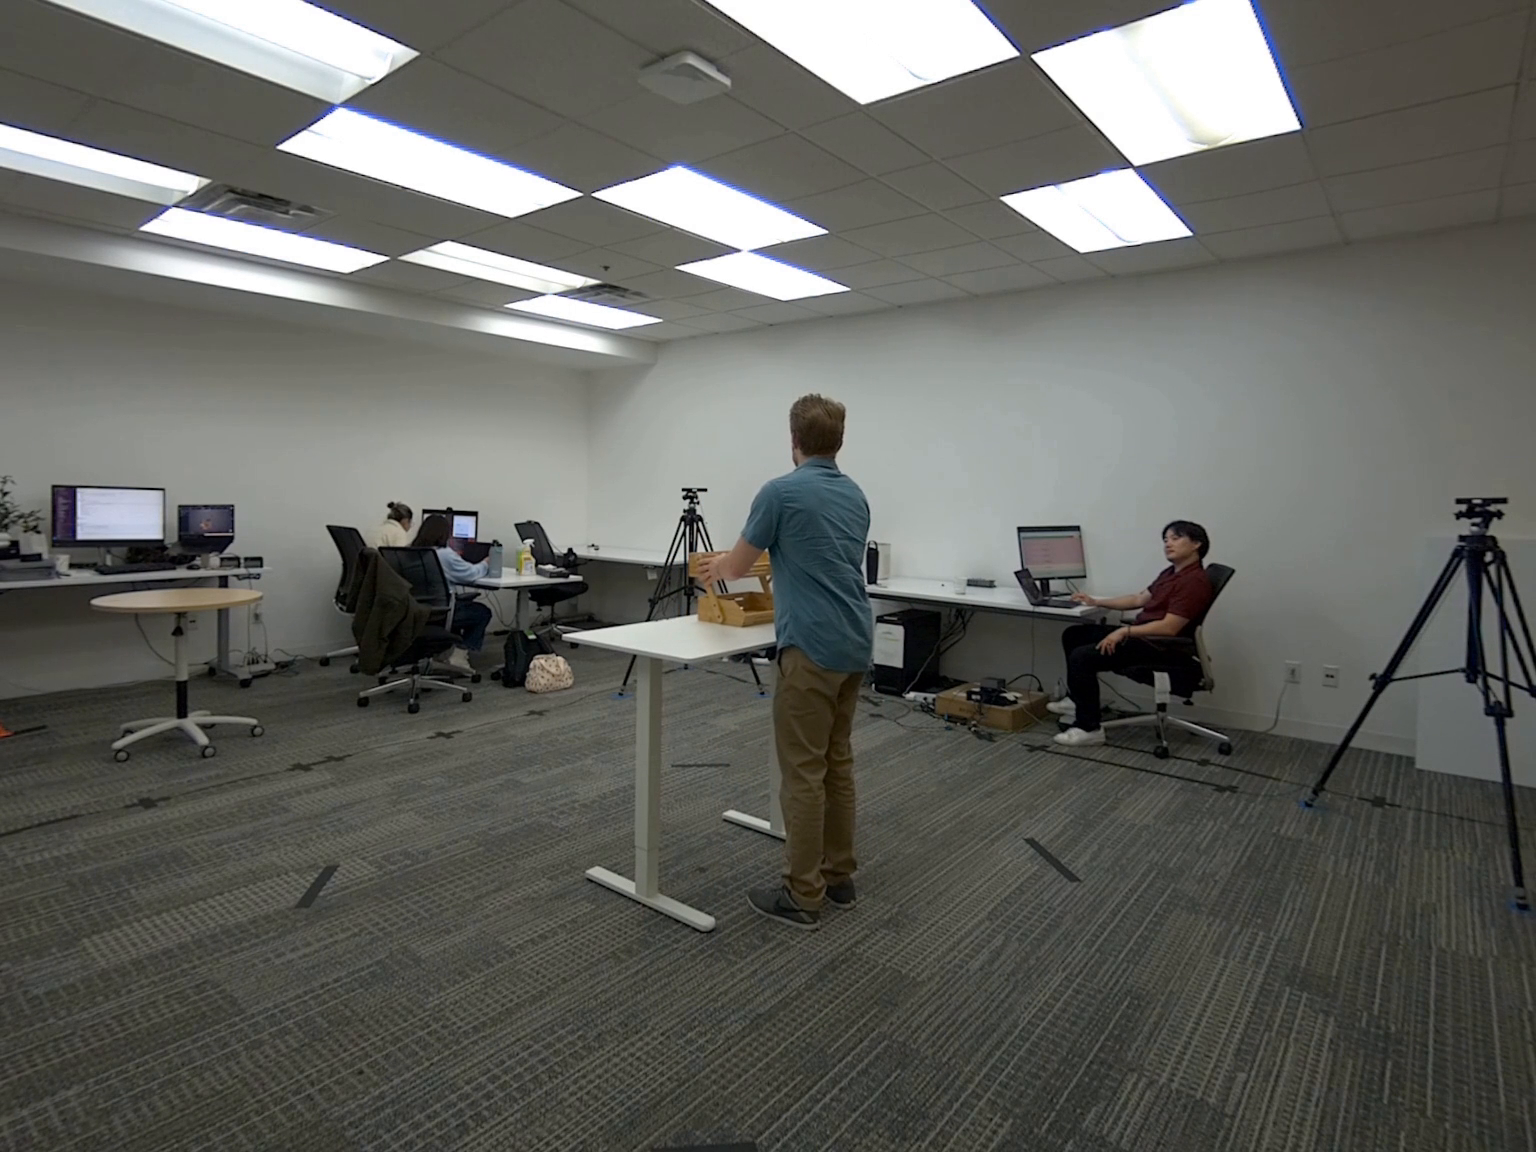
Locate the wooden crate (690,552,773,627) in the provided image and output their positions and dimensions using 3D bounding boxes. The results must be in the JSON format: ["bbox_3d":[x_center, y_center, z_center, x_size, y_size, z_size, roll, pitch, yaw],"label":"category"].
[{"bbox_3d":[-0.107,0.036,3.317,0.312,0.272,0.315,3,5,42],"label":"wooden crate"}]
